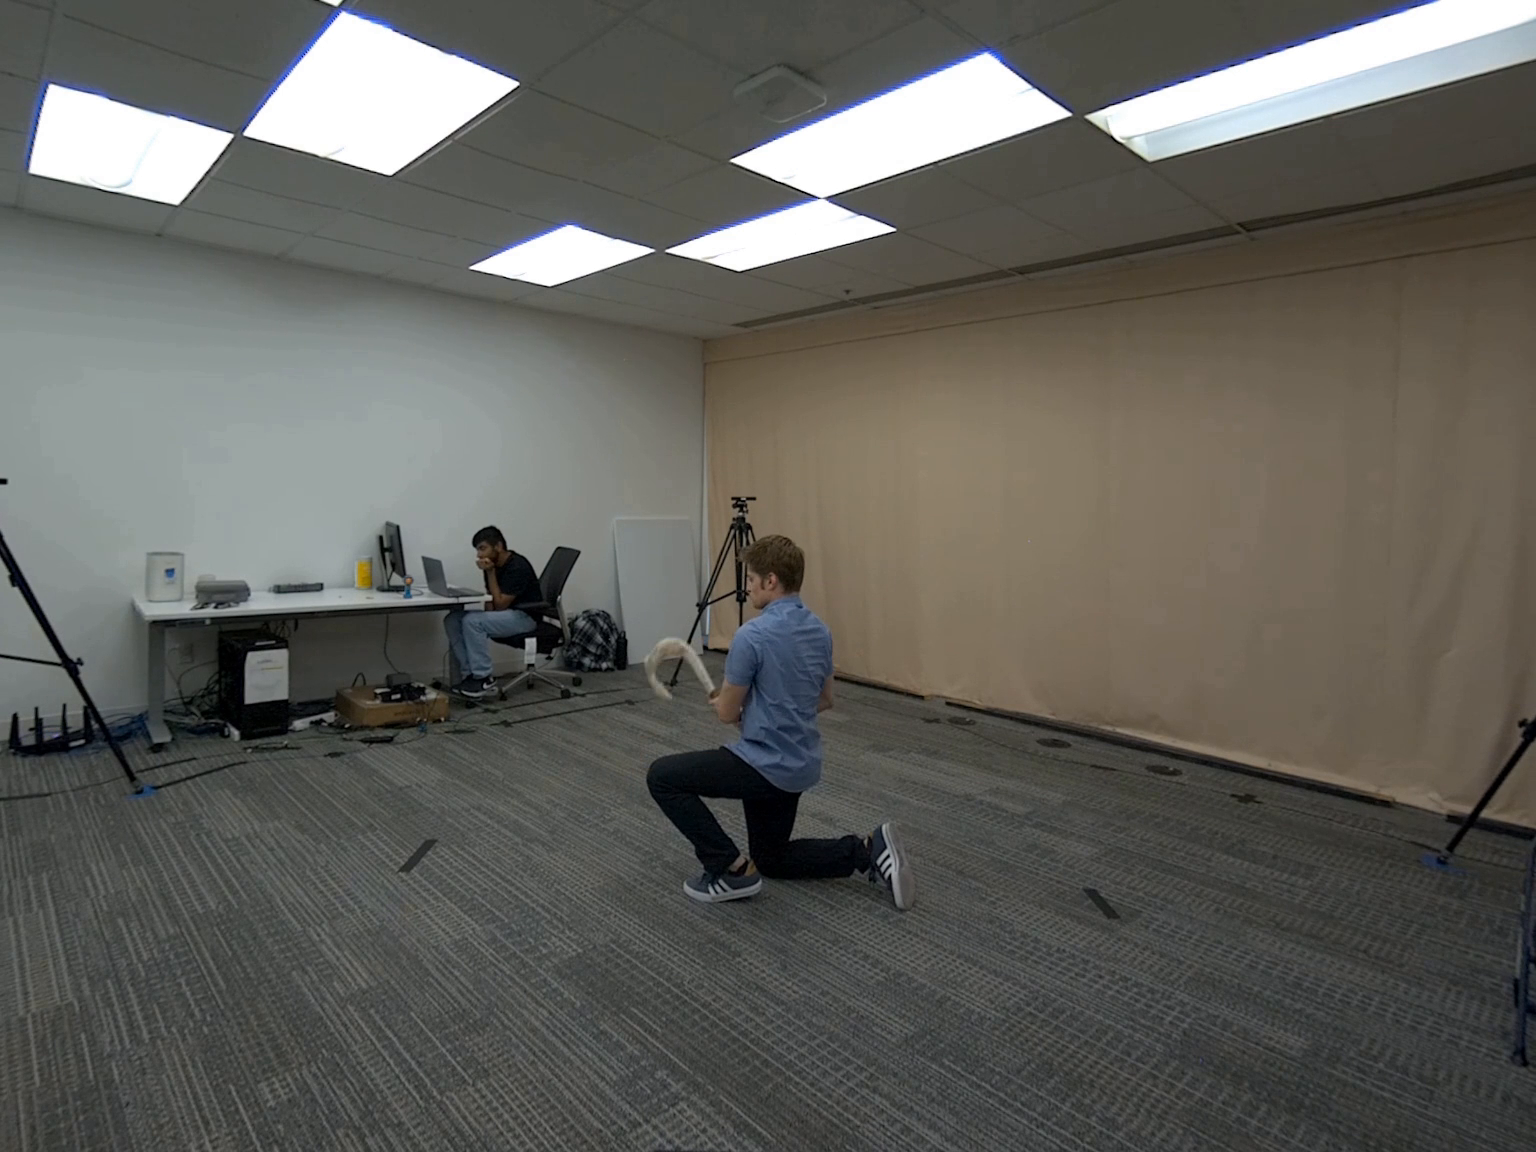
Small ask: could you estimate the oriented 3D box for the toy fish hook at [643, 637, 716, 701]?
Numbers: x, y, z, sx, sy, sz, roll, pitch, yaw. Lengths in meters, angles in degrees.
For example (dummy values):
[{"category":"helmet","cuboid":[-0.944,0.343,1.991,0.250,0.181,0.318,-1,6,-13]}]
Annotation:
[{"category":"toy fish hook","cuboid":[-0.276,0.459,3.315,0.517,0.224,0.047,43,8,20]}]
